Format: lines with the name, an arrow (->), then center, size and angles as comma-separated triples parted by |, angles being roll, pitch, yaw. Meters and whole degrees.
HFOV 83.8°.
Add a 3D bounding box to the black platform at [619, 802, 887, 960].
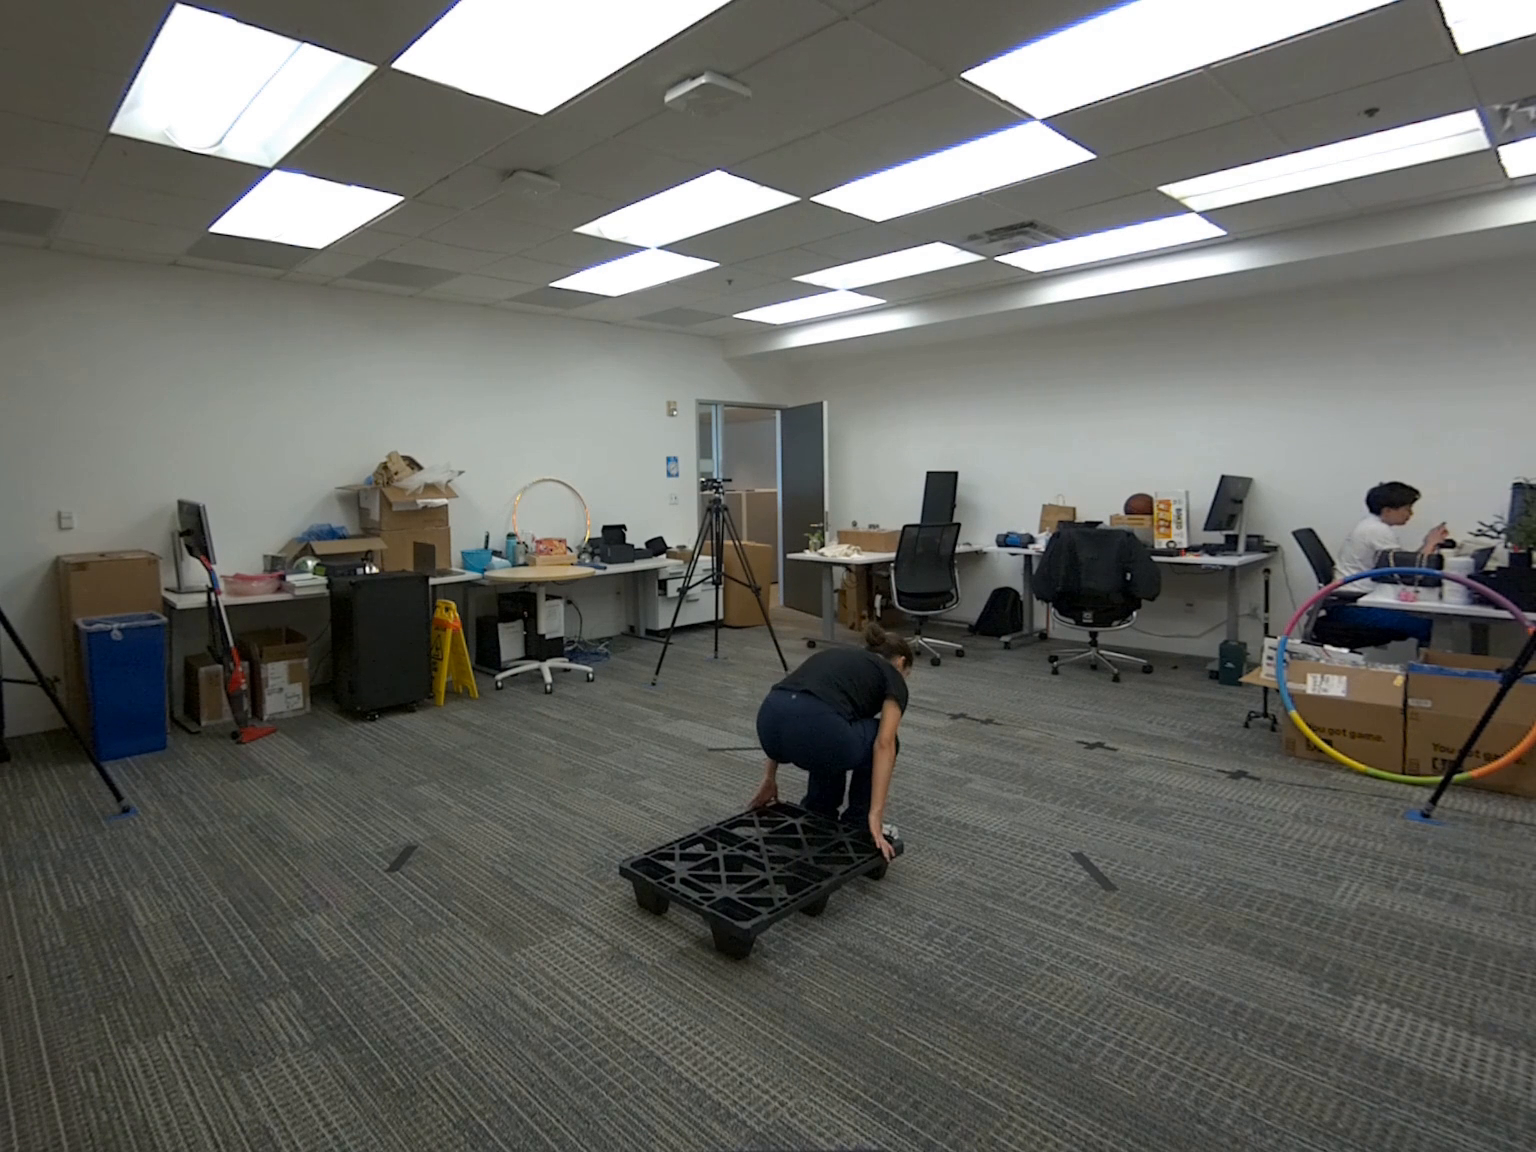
black platform -> -0.009, 1.003, 2.901 | 0.624, 0.142, 0.785 | 6, 10, 43
